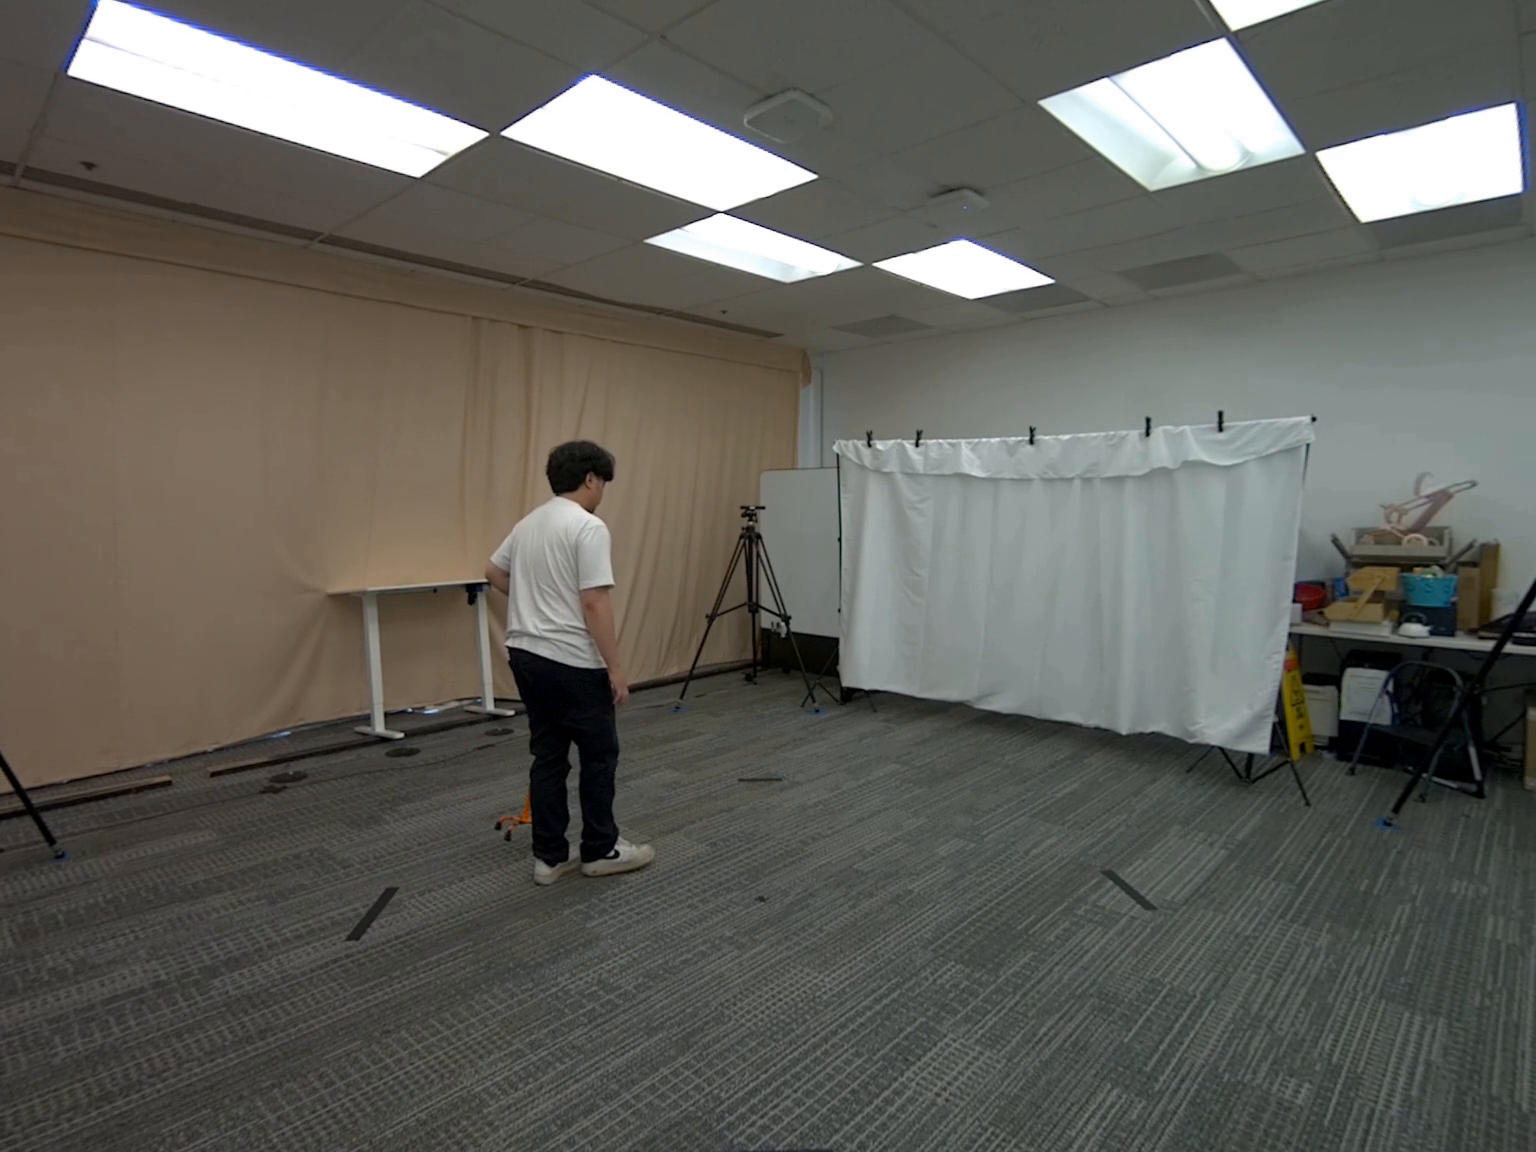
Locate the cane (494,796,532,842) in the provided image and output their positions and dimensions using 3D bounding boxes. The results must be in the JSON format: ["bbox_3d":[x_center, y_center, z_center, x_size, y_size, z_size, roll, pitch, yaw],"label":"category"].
[{"bbox_3d":[-0.902,0.619,3.432,0.200,0.909,0.156,13,-3,-35],"label":"cane"}]
